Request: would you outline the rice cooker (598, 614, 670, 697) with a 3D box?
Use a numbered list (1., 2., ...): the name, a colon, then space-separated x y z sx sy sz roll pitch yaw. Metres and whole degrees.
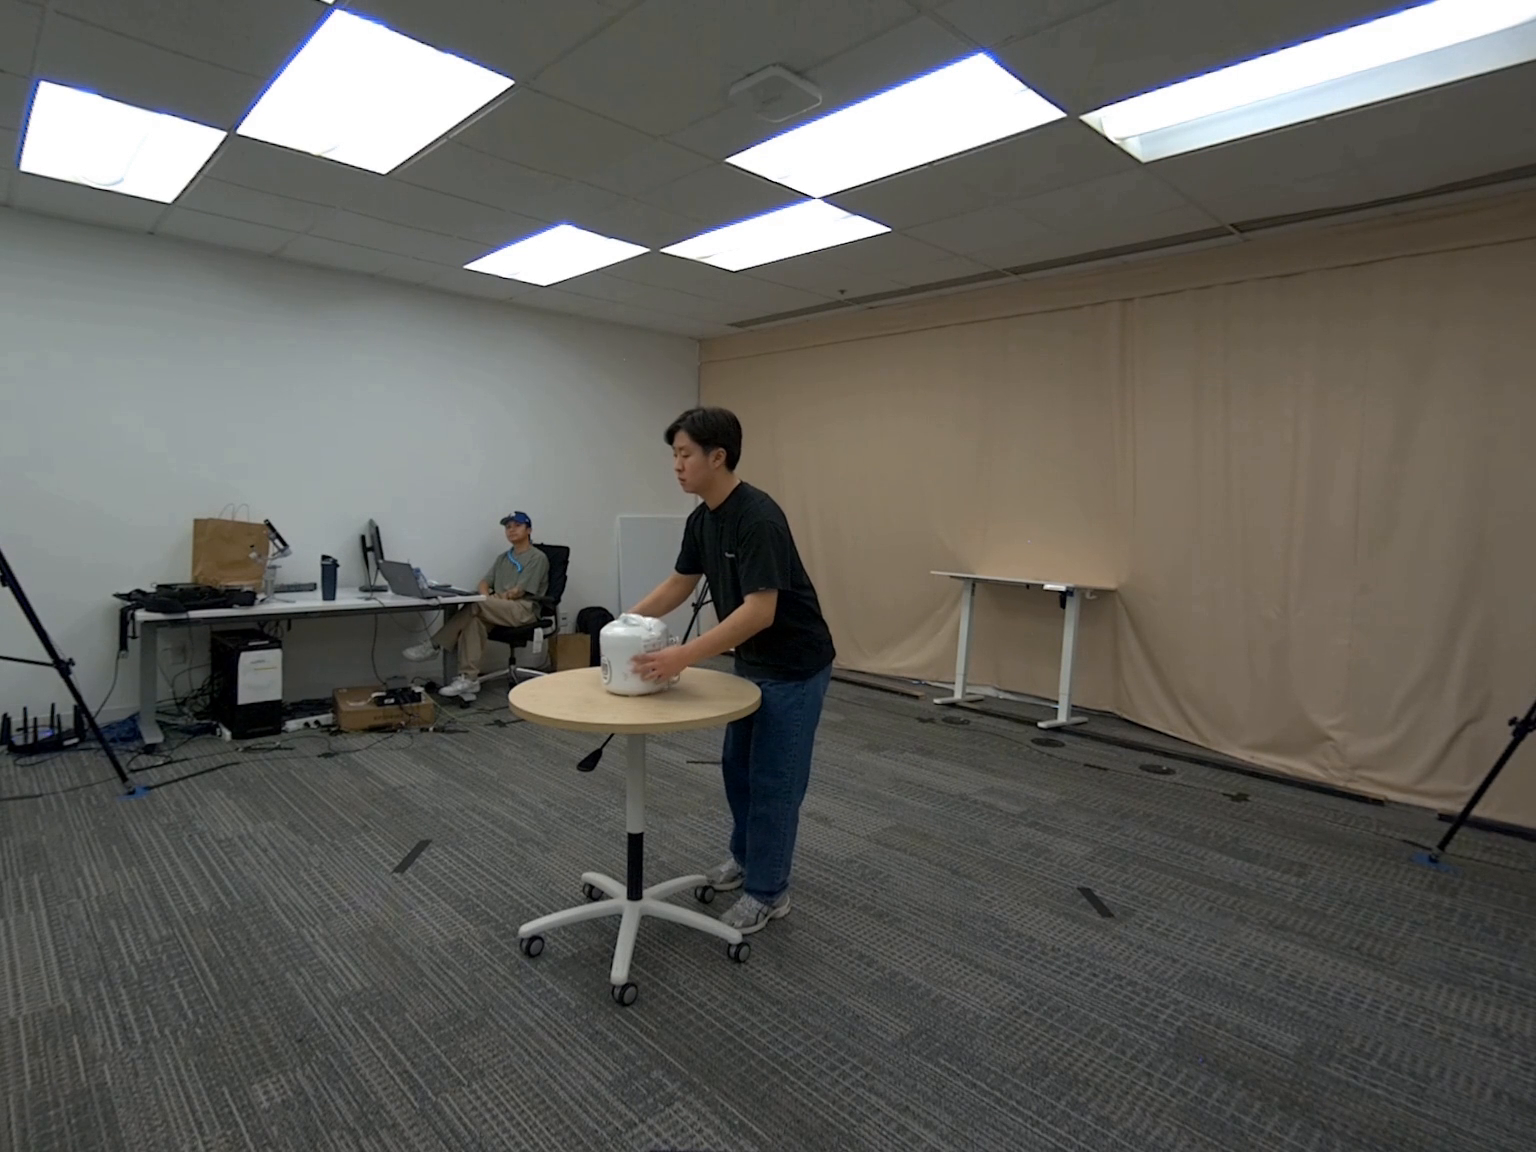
1. rice cooker: -0.410 0.229 2.572 0.213 0.232 0.226 -7 8 -38
